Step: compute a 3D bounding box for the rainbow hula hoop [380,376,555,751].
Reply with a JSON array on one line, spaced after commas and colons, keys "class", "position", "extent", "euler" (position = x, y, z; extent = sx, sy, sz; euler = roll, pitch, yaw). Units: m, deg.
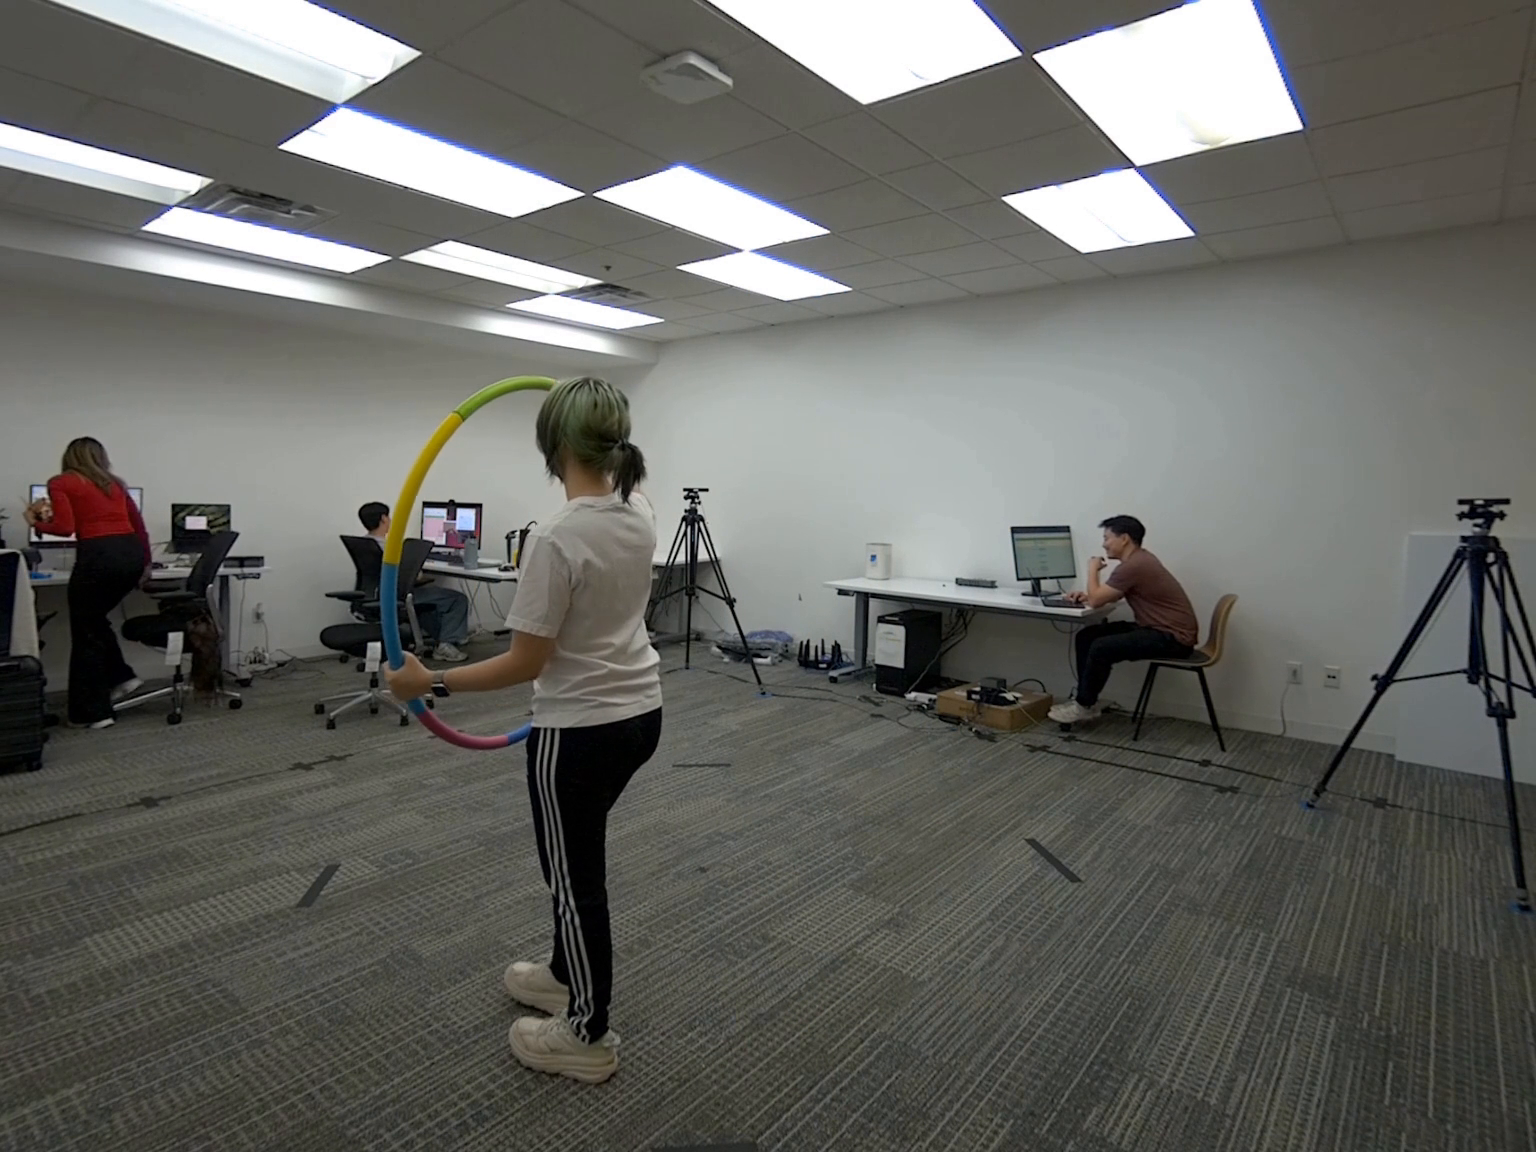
[{"class": "rainbow hula hoop", "position": [-0.640, -0.031, 2.261], "extent": [0.036, 0.974, 0.957], "euler": [9, 7, 23]}]
